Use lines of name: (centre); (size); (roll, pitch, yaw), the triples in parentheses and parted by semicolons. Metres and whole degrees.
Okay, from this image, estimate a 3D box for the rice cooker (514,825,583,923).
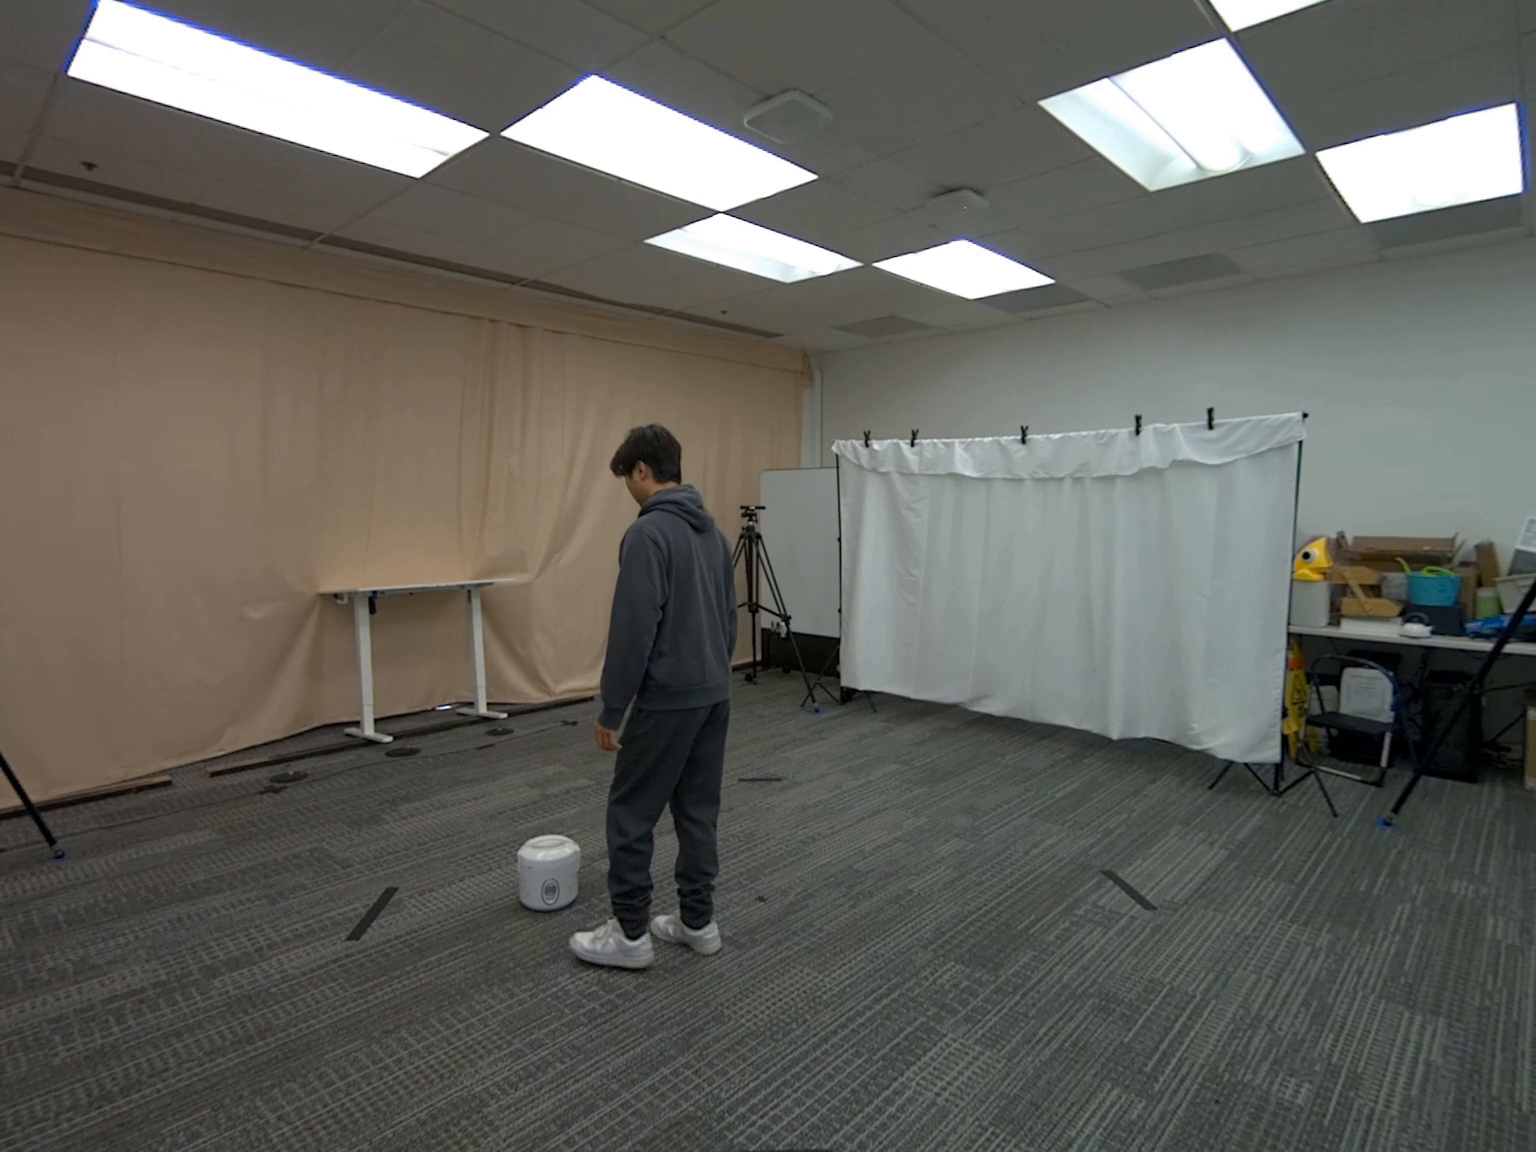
rice cooker: (-0.776, 1.036, 2.972); (0.217, 0.232, 0.221); (-1, 2, -16)
